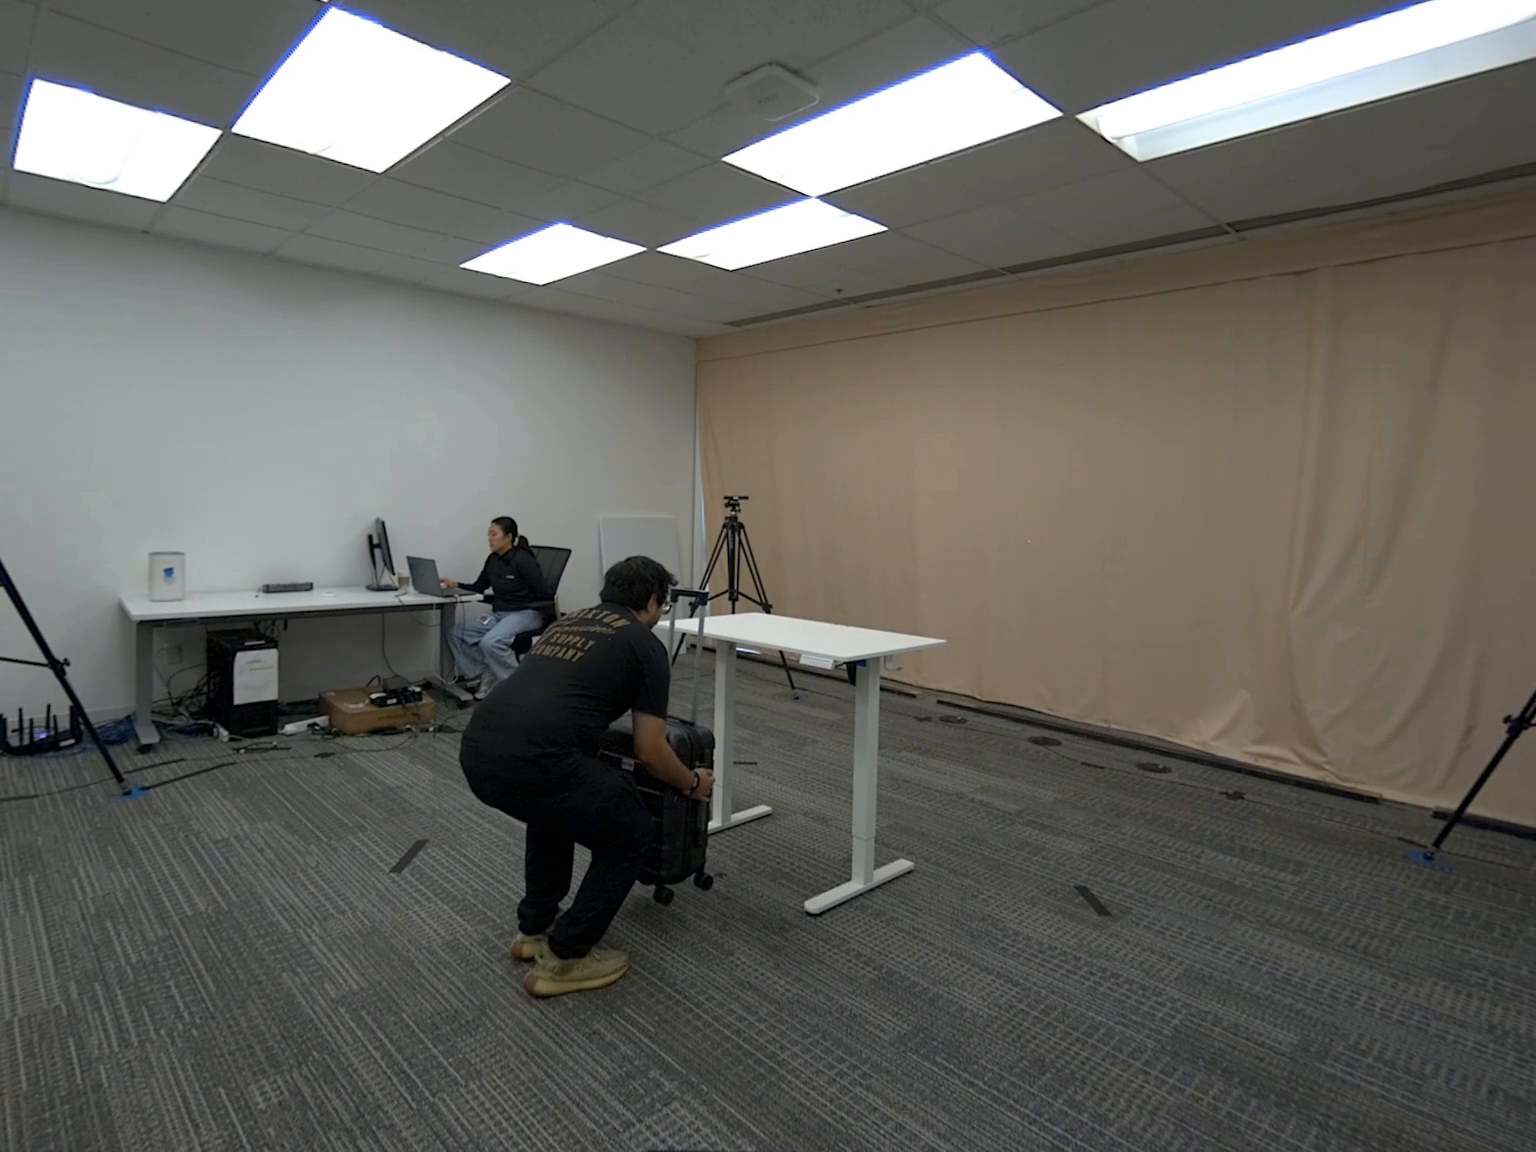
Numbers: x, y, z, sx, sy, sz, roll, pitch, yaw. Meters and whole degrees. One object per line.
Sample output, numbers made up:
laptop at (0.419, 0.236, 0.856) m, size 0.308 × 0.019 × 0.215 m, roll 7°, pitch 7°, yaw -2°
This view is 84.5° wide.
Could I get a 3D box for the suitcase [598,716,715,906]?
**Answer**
suitcase at (-0.369, 0.549, 2.806) m, size 0.393 × 0.979 × 0.251 m, roll 3°, pitch -1°, yaw 36°
